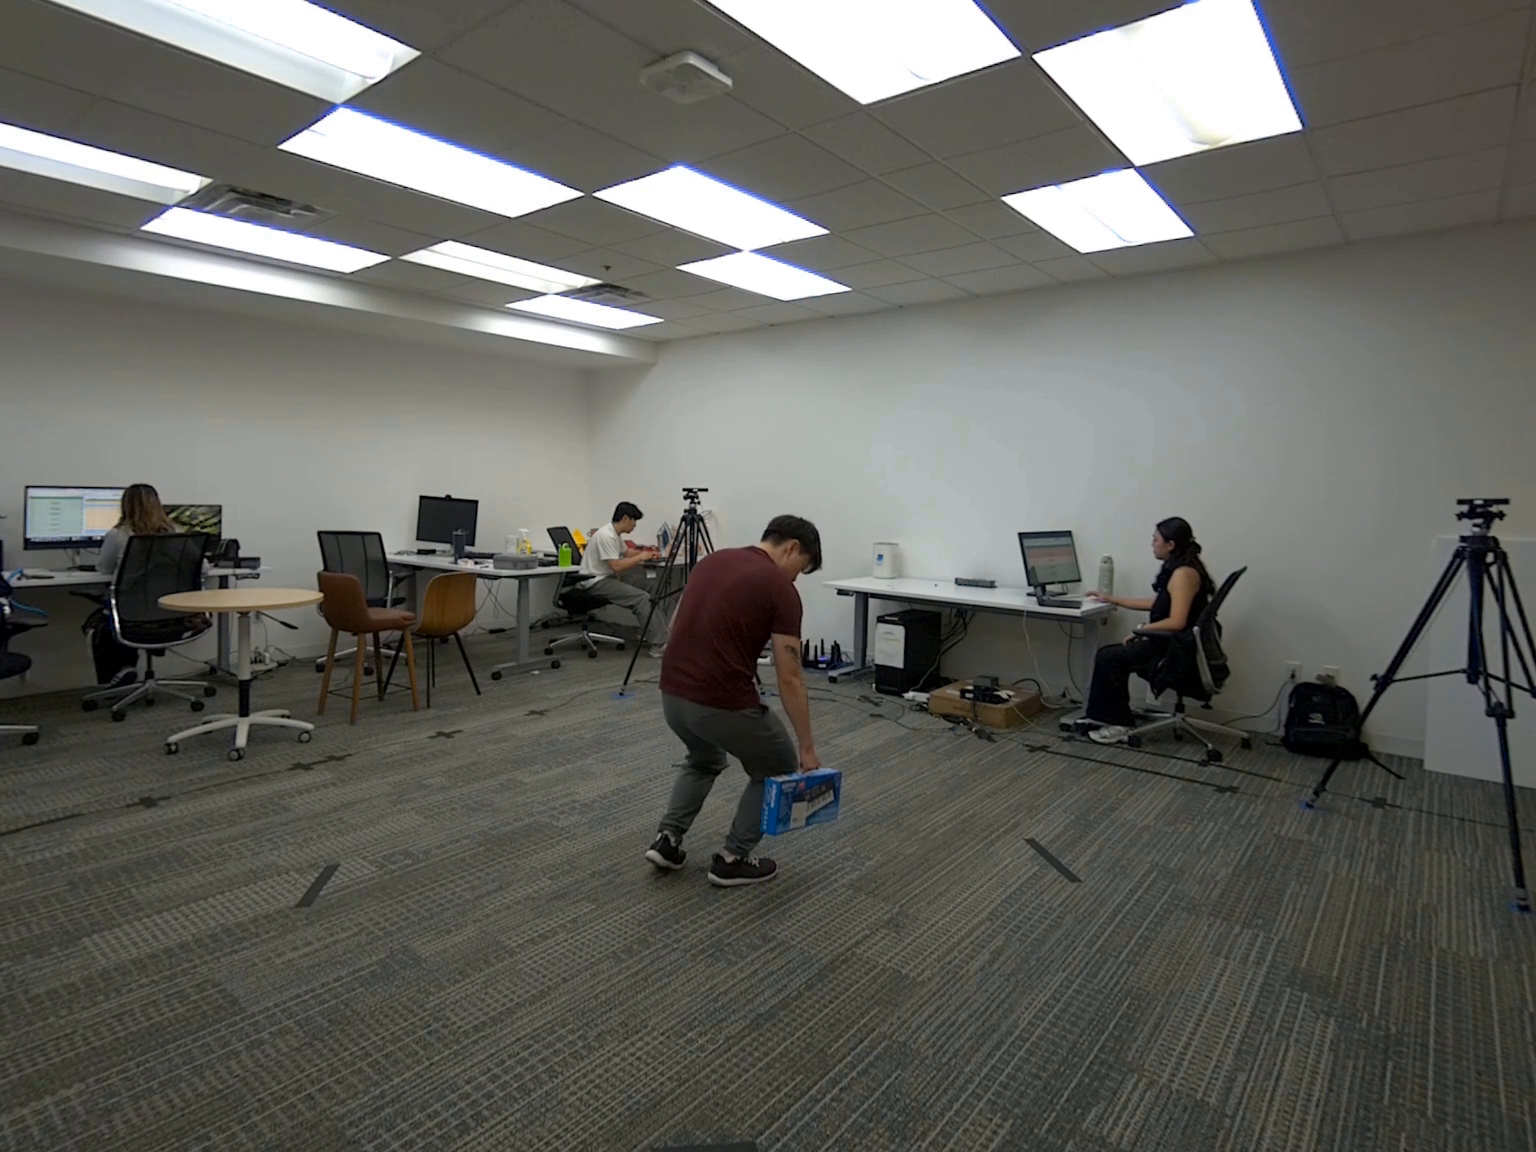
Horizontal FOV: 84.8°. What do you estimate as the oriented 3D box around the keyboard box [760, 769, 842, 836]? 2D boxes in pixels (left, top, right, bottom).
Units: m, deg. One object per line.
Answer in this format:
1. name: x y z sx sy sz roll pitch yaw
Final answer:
1. keyboard box: 0.115 0.769 2.936 0.061 0.177 0.421 3 -5 34
